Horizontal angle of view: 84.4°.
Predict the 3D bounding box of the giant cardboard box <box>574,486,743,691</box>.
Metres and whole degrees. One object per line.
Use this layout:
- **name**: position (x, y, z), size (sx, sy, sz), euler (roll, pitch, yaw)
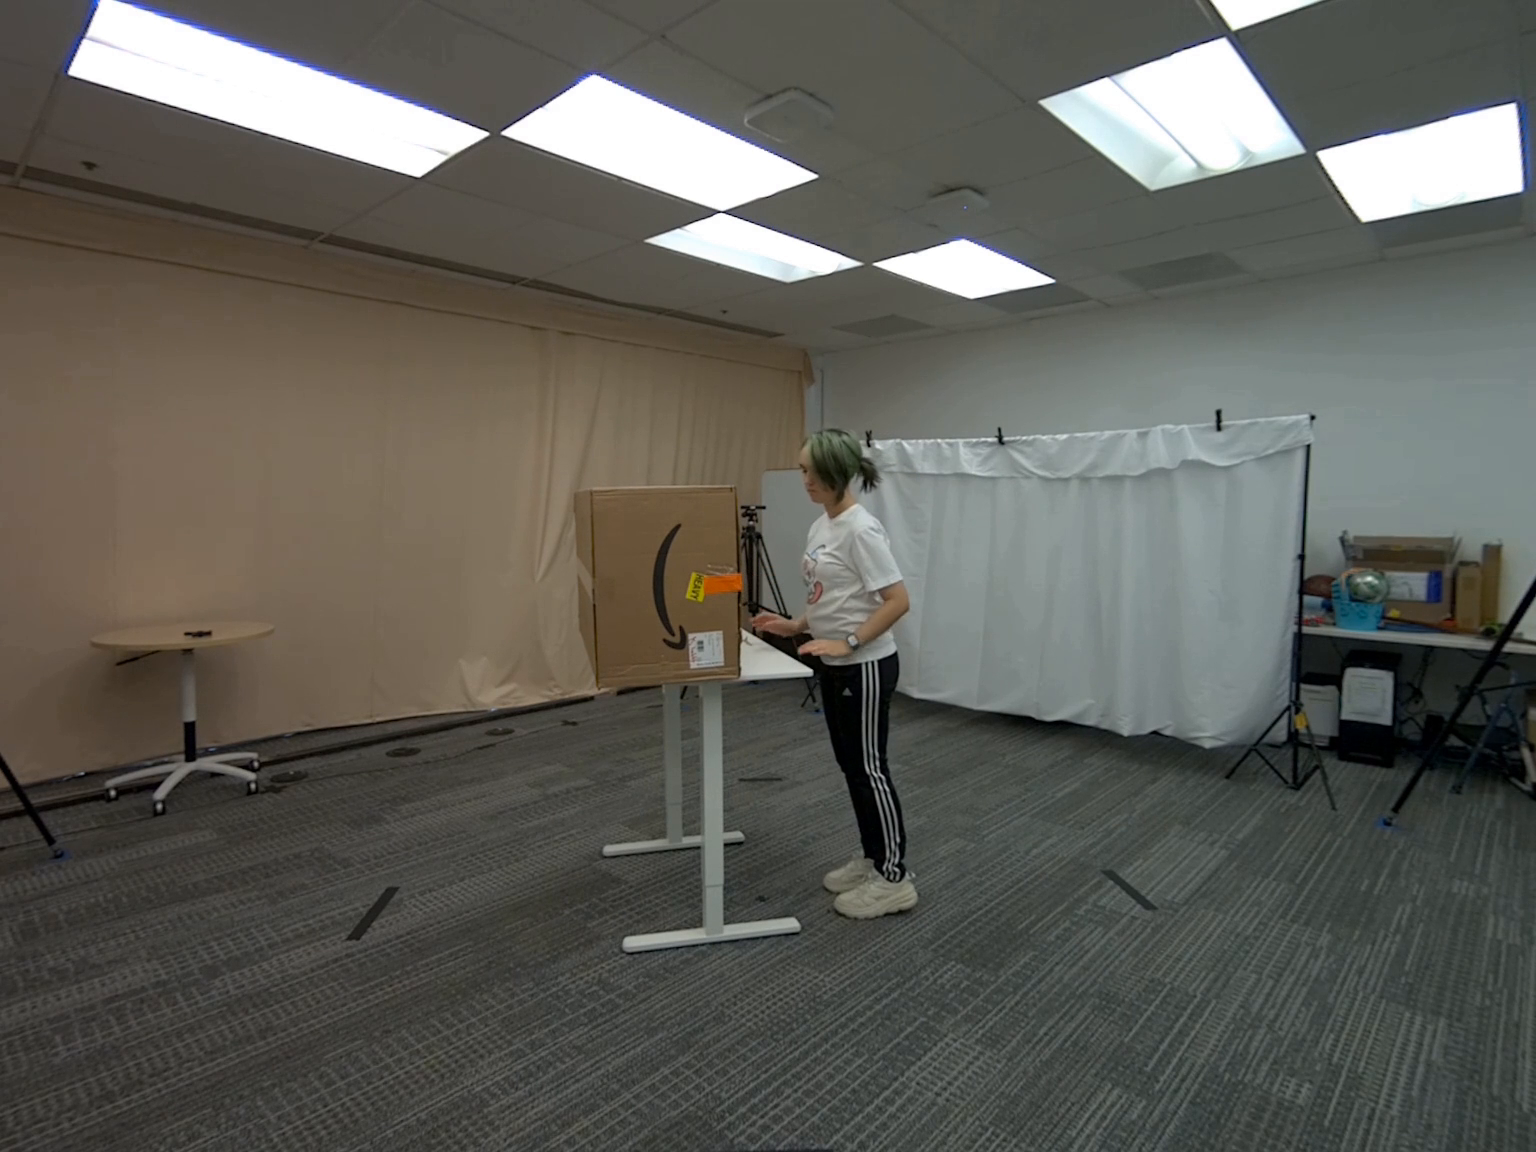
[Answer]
- **giant cardboard box**: position (-0.422, -0.017, 2.926), size (0.440, 0.582, 1.045), euler (-2, 6, -15)
